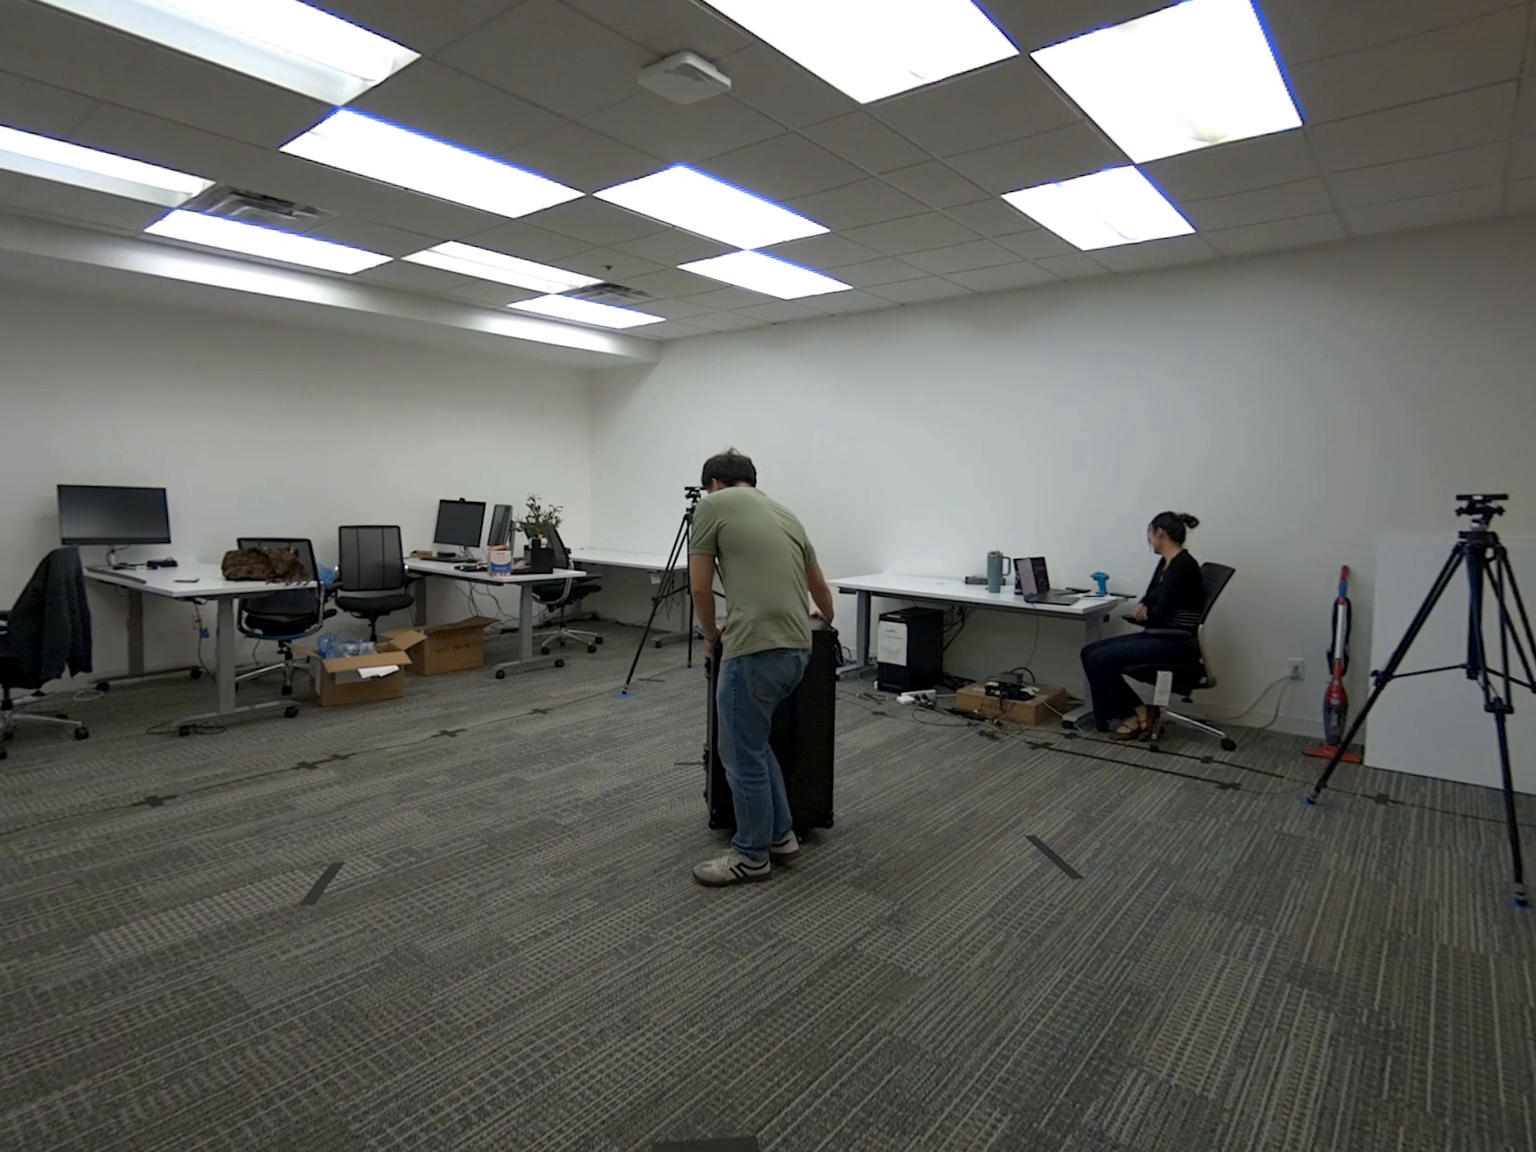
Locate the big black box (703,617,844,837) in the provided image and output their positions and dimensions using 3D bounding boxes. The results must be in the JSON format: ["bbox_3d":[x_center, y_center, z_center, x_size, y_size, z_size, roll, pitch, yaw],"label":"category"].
[{"bbox_3d":[-0.002,0.610,3.452,0.519,0.859,0.399,1,3,-4],"label":"big black box"}]
